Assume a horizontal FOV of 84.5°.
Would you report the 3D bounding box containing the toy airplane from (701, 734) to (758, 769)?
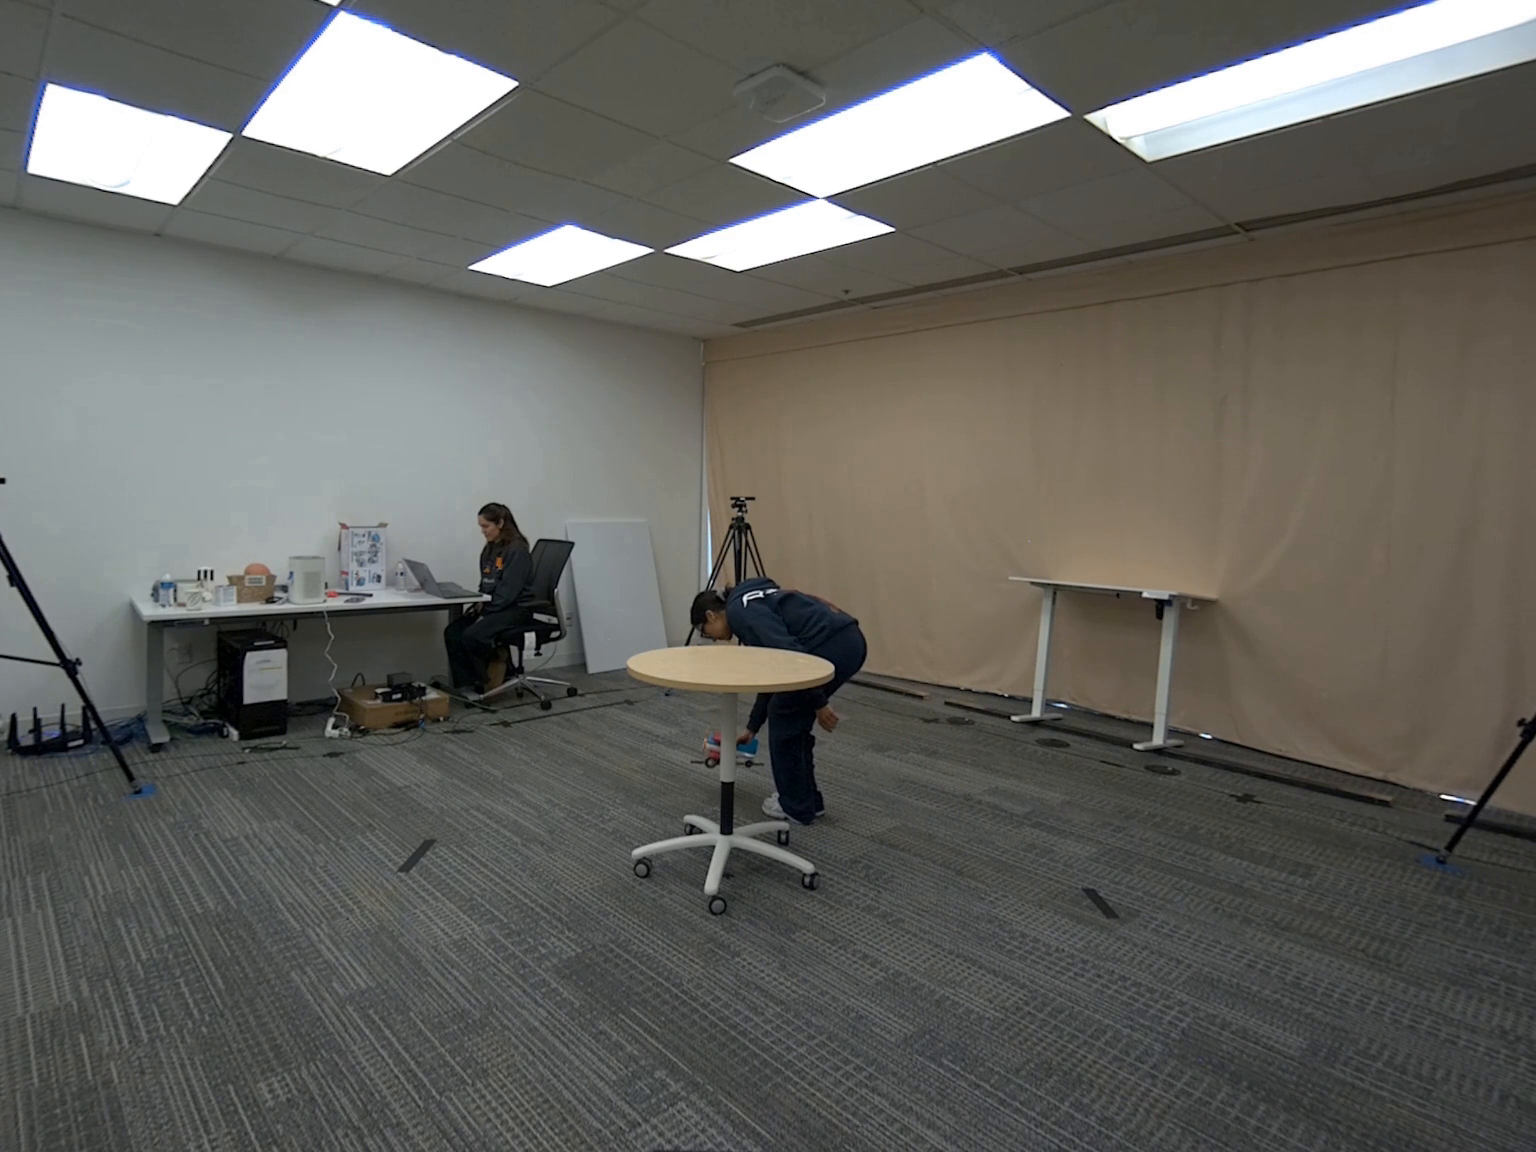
[{"bbox_3d":[-0.186,0.824,4.012,0.256,0.157,0.253,0,-6,-16],"label":"toy airplane"}]
